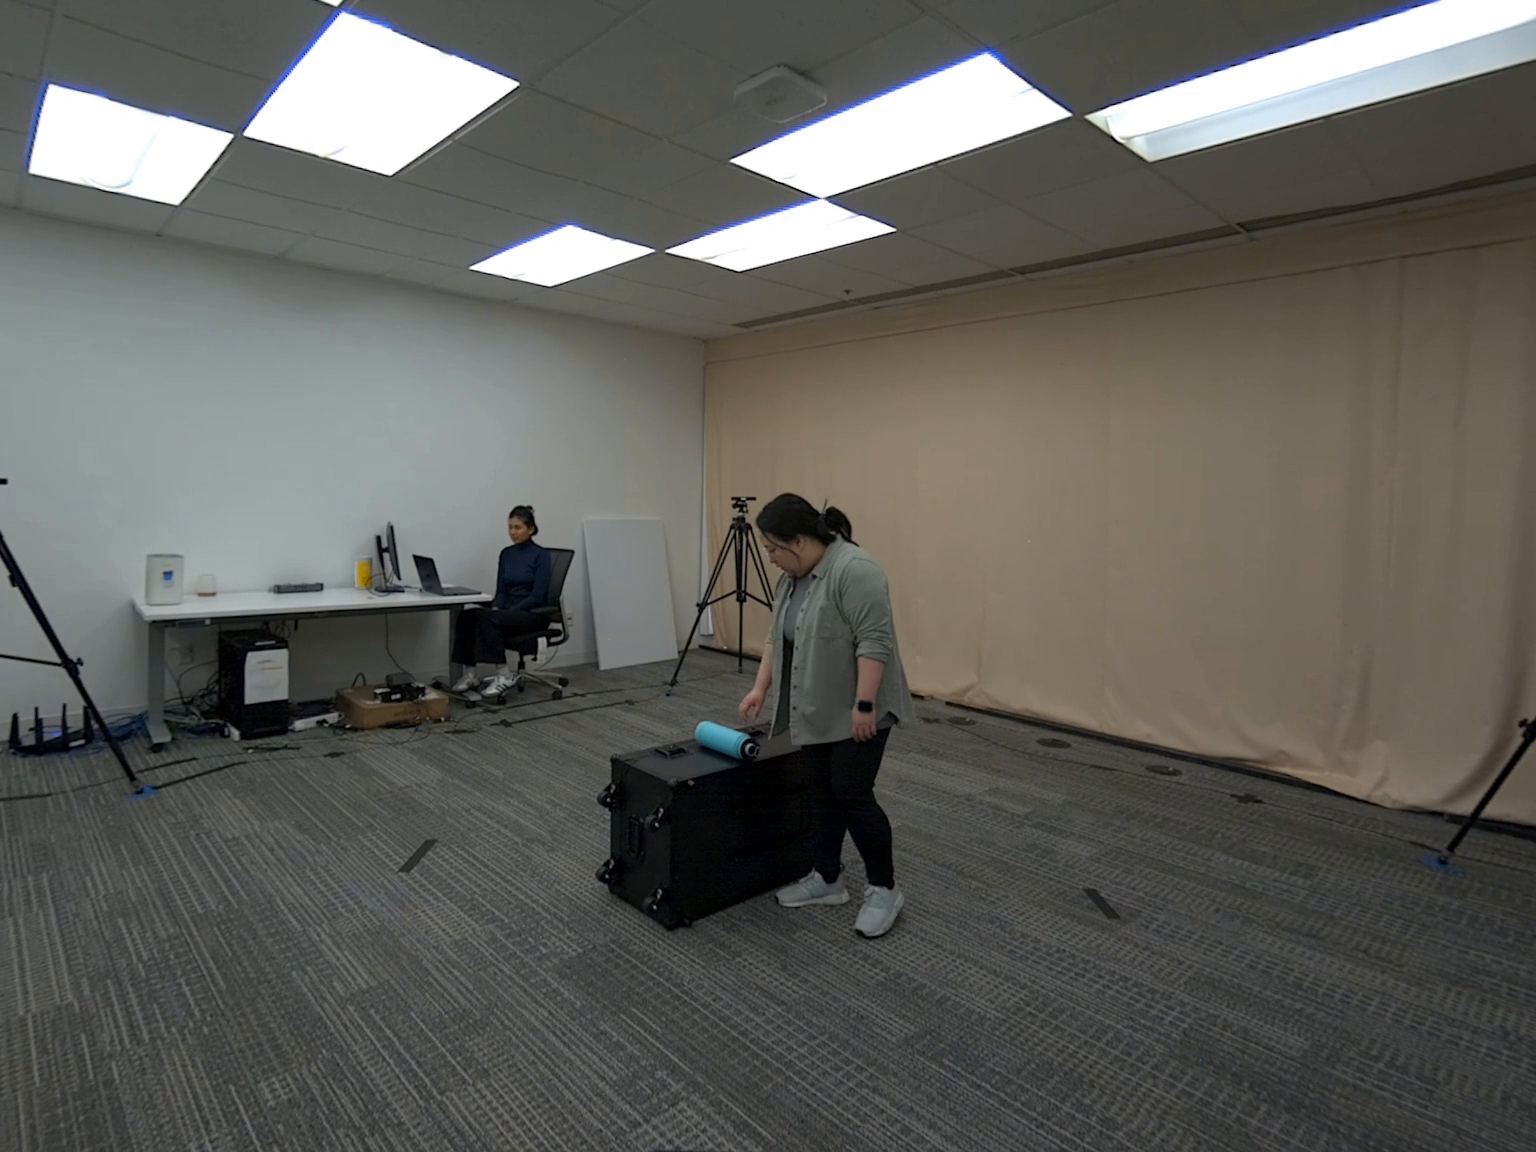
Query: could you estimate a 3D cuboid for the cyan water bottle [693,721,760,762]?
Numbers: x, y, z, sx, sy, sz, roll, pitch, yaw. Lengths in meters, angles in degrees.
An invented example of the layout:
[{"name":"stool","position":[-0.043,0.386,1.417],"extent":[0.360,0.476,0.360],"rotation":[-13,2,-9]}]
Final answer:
[{"name":"cyan water bottle","position":[-0.145,0.583,2.998],"extent":[0.090,0.092,0.291],"rotation":[-2,6,-43]}]
